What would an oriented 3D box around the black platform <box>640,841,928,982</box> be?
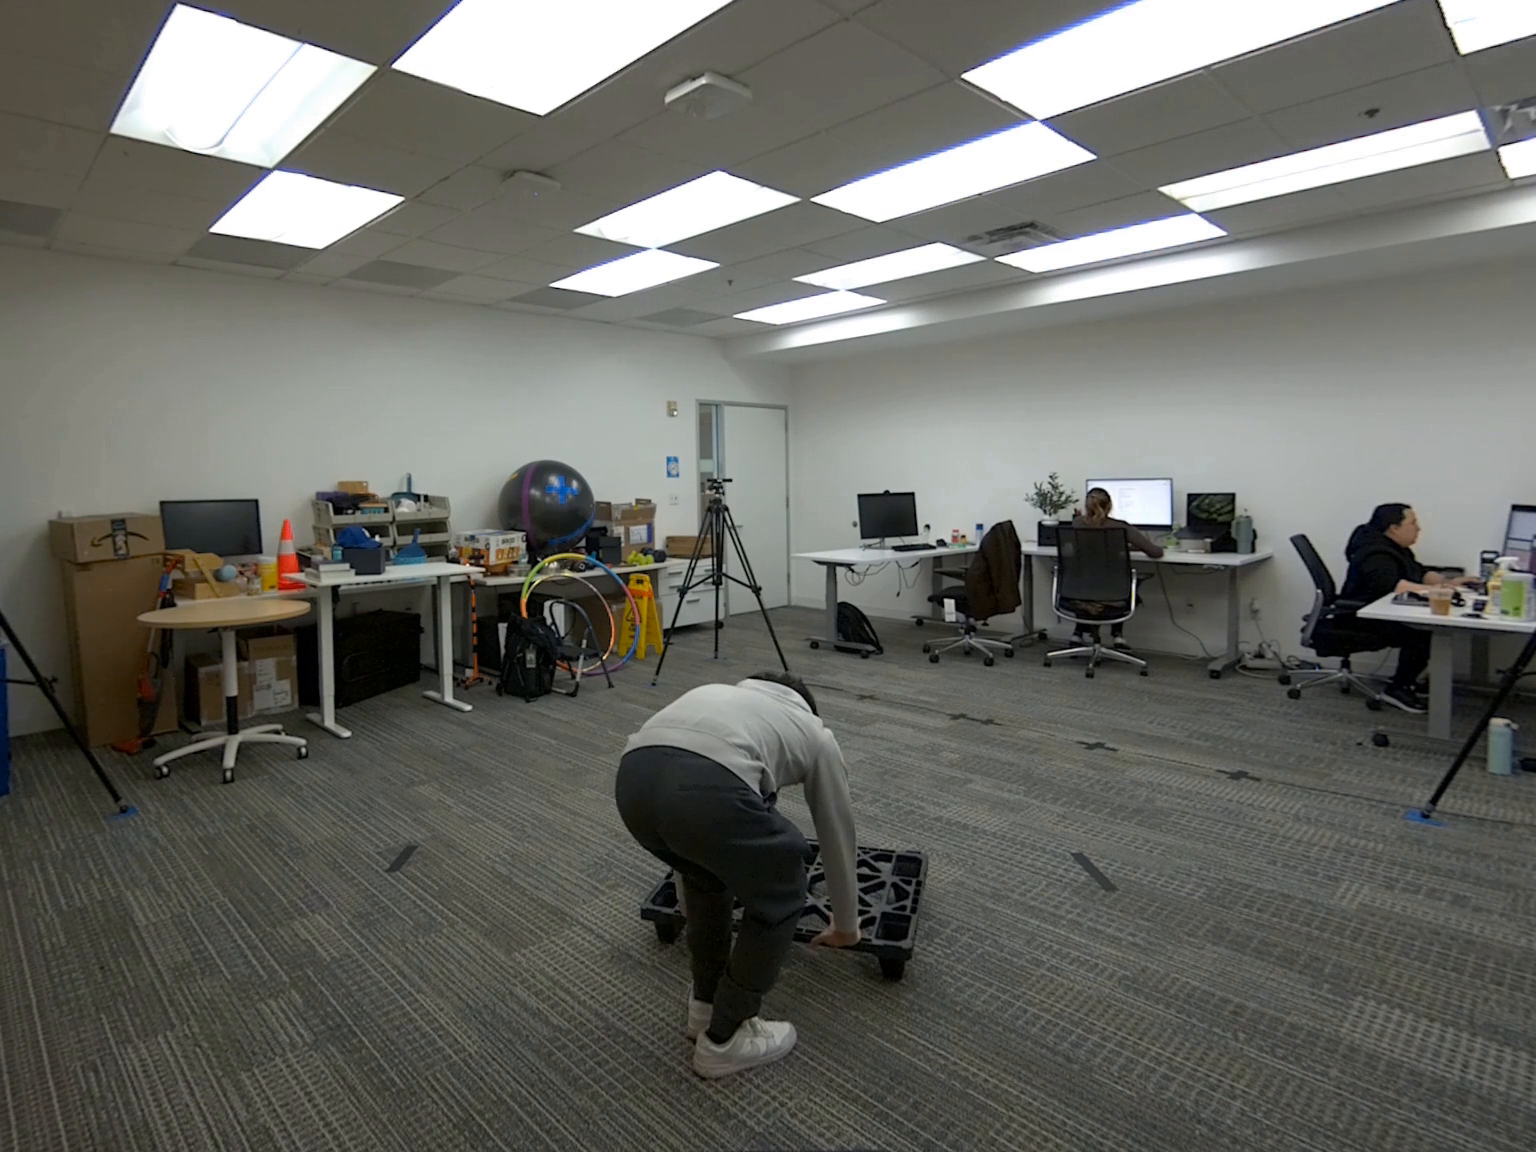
[{"bbox_3d":[0.081,1.019,2.706,0.819,0.142,0.598,1,7,17],"label":"black platform"}]
